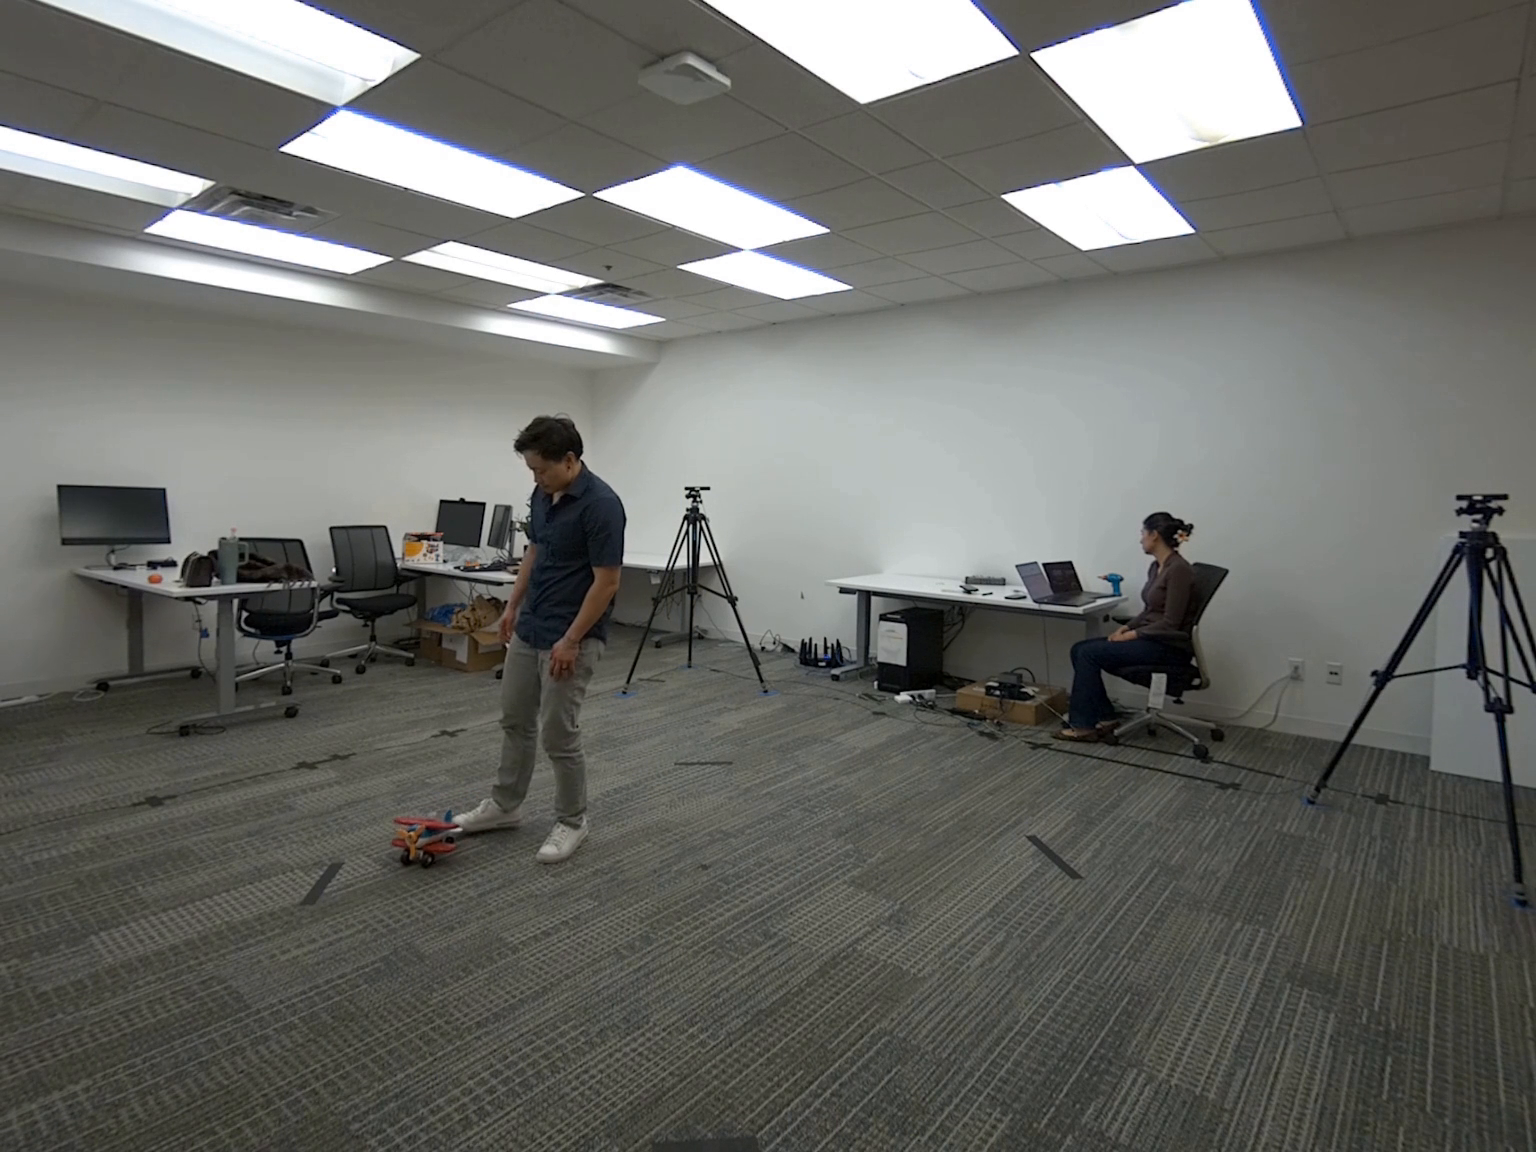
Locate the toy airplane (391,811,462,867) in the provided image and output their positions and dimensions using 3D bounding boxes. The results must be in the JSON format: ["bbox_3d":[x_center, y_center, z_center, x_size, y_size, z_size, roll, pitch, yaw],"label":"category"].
[{"bbox_3d":[-1.293,0.971,3.183,0.247,0.155,0.265,-2,8,-15],"label":"toy airplane"}]
